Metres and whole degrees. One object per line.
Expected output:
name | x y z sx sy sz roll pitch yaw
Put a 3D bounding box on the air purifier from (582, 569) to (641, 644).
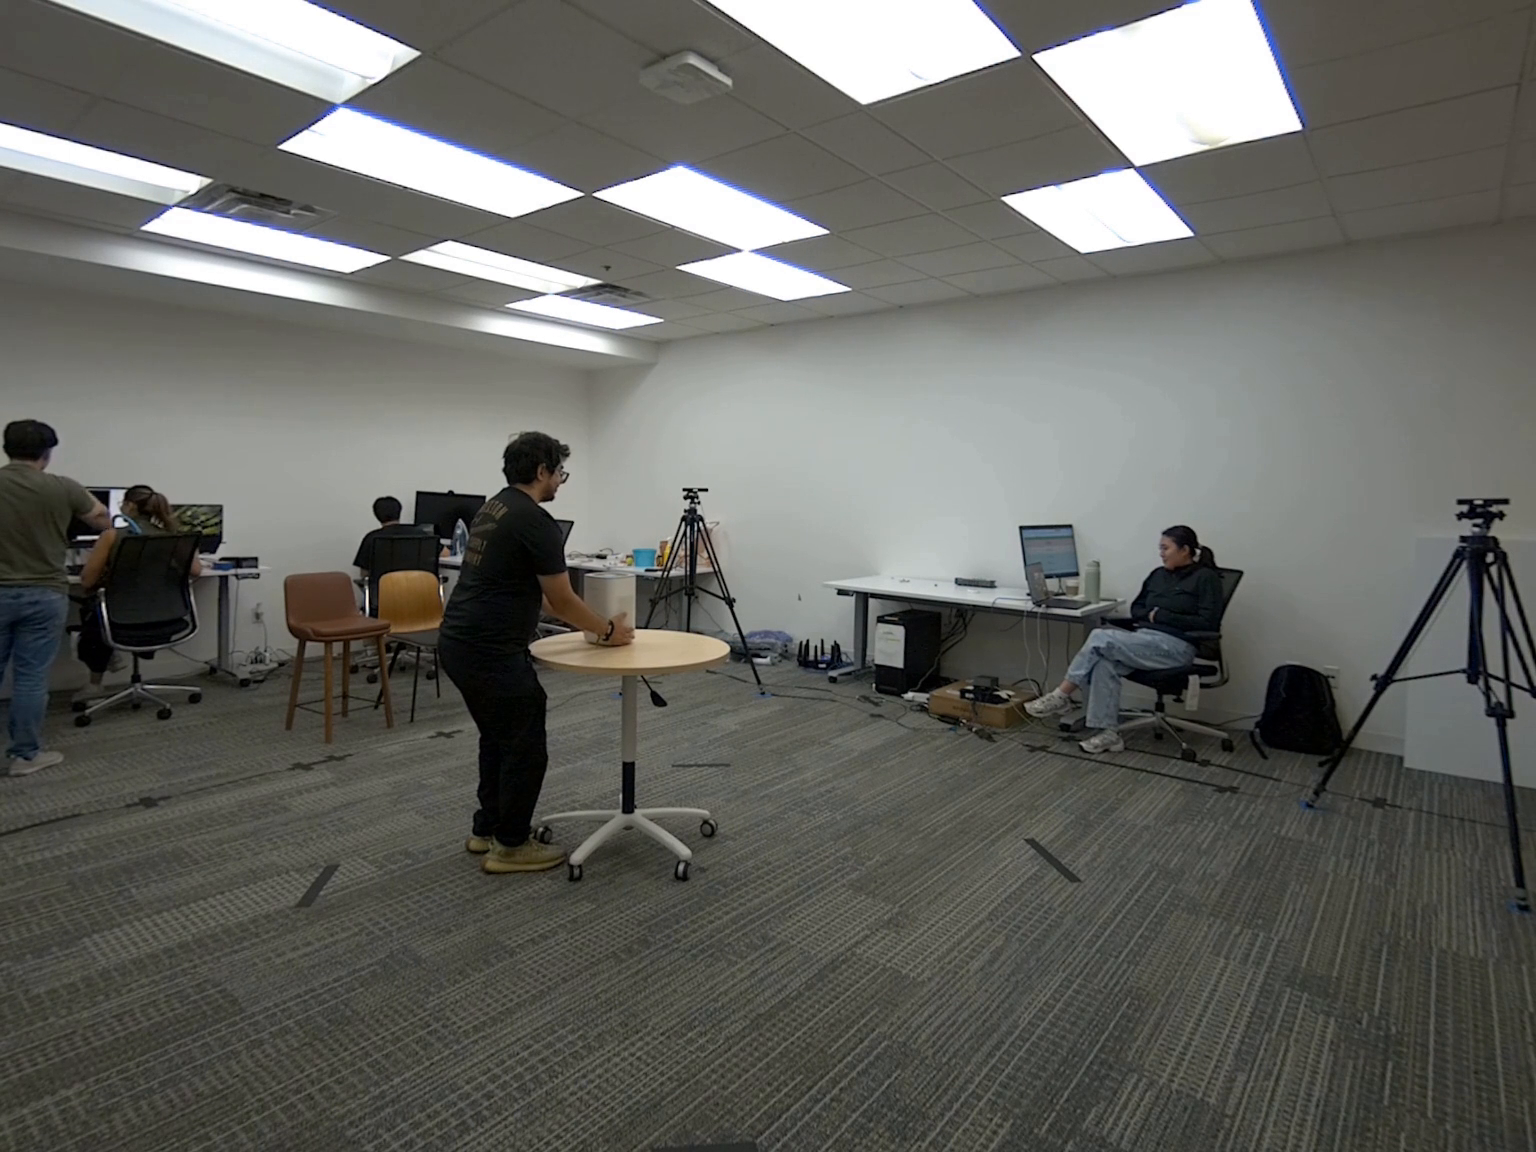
air purifier | -0.637 0.128 3.321 0.176 0.265 0.167 3 3 32
